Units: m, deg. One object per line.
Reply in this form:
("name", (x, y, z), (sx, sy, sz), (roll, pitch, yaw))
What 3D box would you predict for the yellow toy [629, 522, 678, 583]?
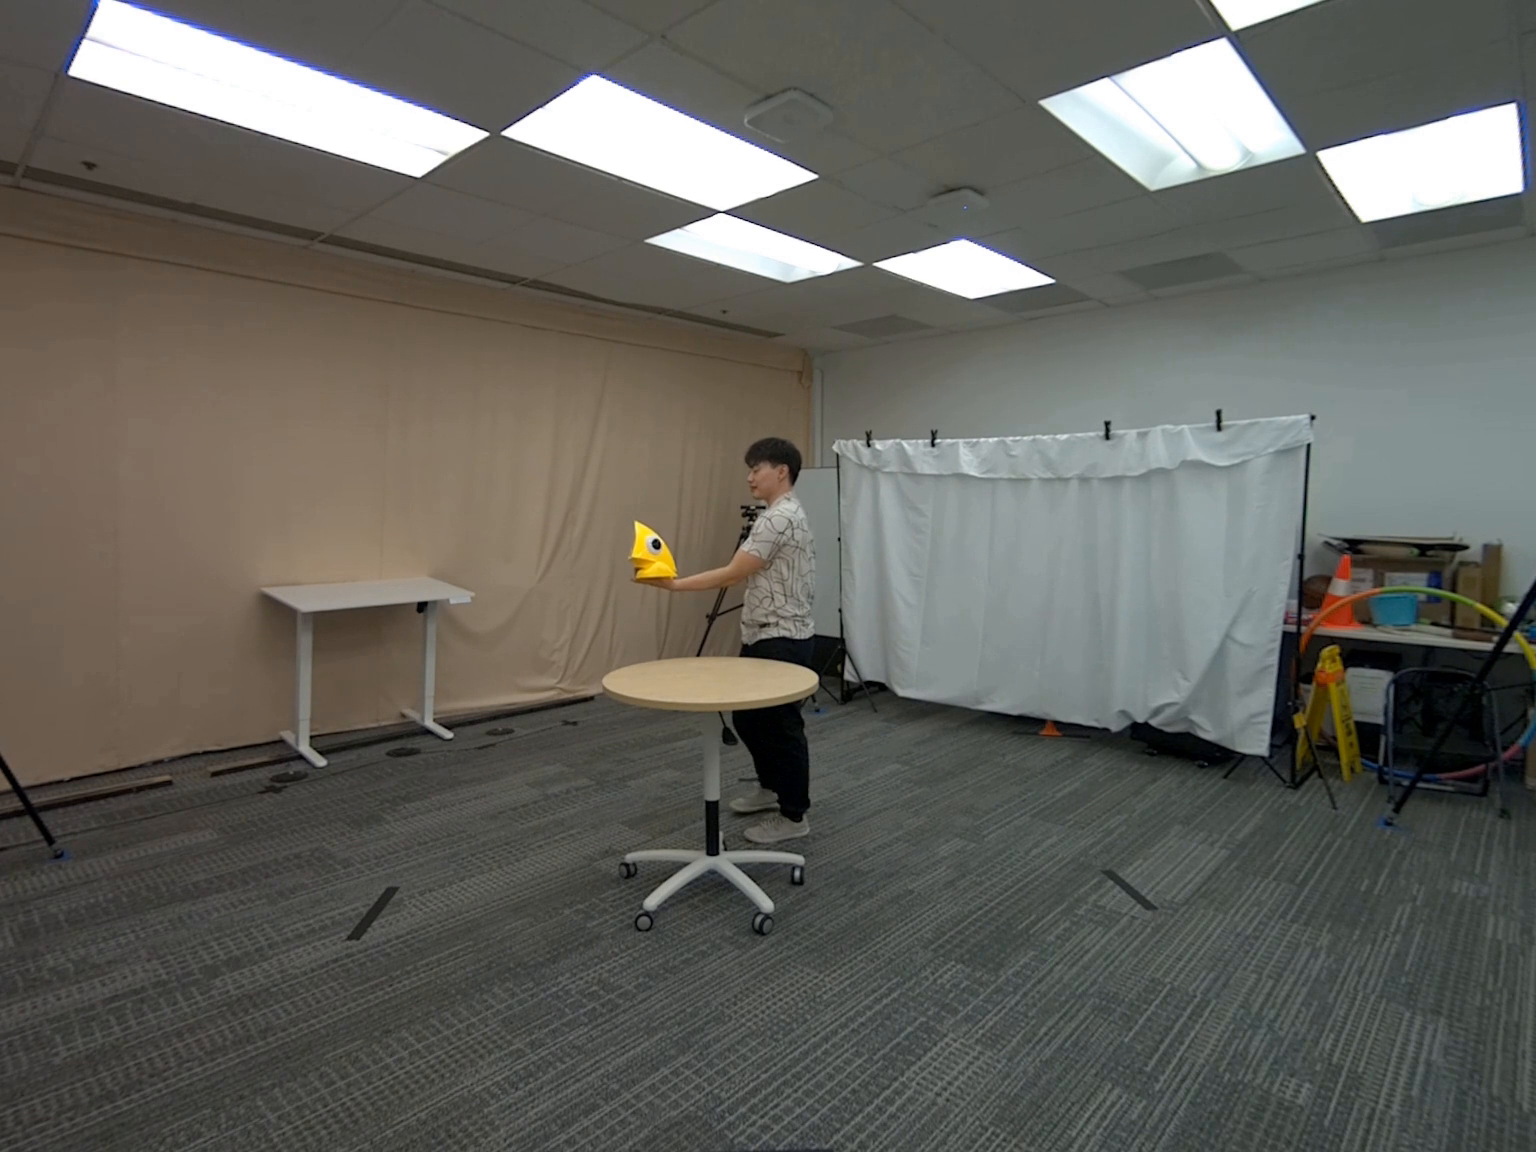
("yellow toy", (-0.463, -0.107, 3.345), (0.190, 0.231, 0.207), (-2, -5, -14))
